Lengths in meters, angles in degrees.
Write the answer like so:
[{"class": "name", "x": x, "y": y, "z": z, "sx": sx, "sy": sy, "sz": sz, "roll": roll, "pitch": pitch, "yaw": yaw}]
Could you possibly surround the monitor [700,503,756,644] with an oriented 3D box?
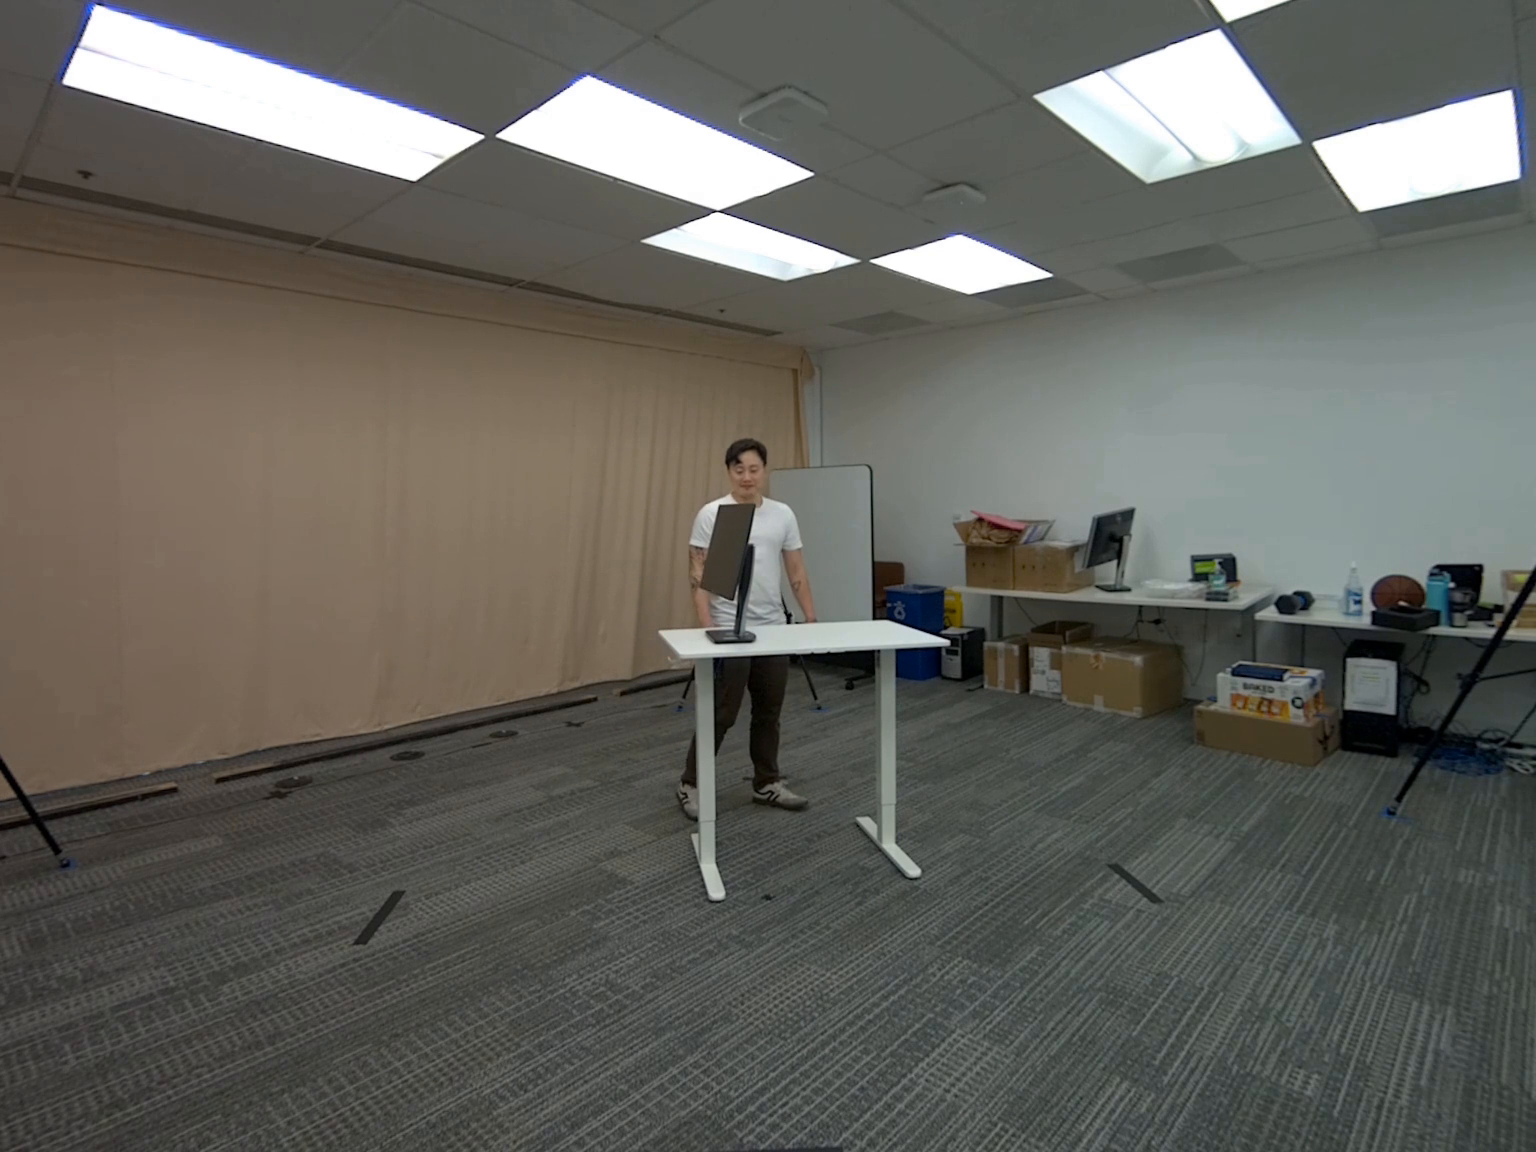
[{"class": "monitor", "x": -0.126, "y": -0.016, "z": 3.226, "sx": 0.184, "sy": 0.522, "sz": 0.549, "roll": -1, "pitch": 3, "yaw": -17}]
